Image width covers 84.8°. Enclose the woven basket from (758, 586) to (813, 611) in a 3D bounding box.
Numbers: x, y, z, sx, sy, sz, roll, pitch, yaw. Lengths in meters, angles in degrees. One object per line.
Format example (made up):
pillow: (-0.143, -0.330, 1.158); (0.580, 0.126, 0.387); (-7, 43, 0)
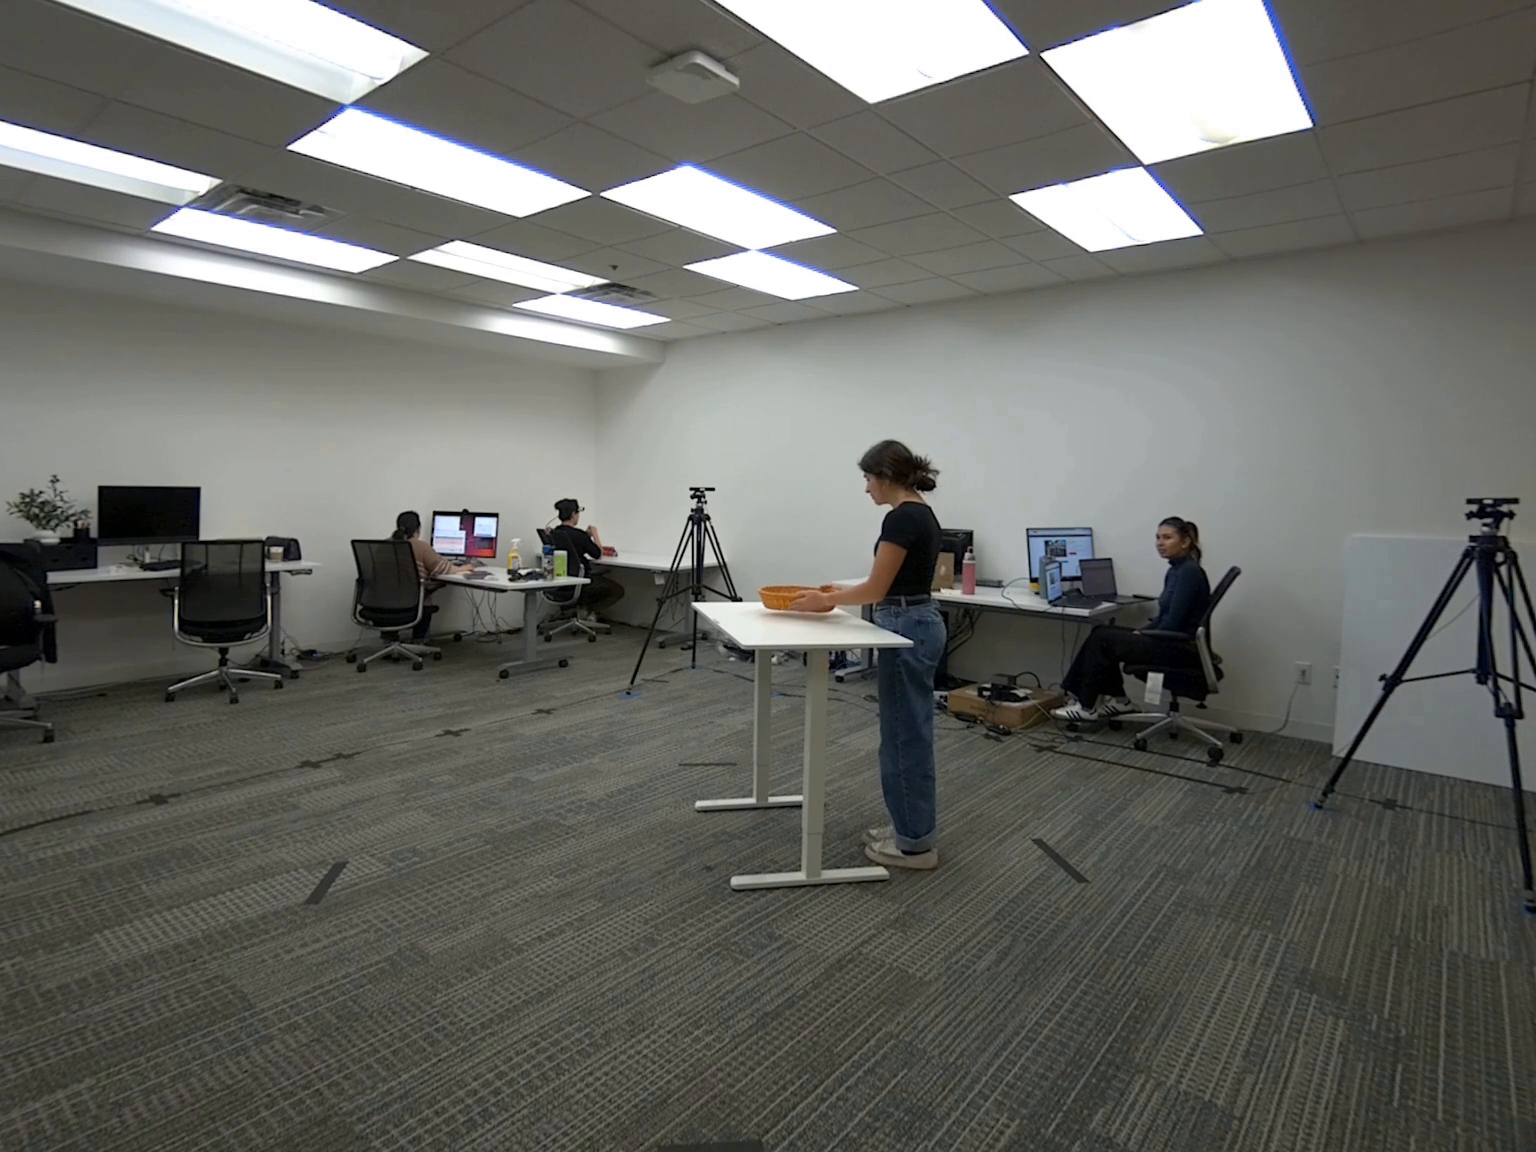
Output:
woven basket: (0.119, 0.096, 3.488); (0.352, 0.073, 0.253); (1, 7, 3)
